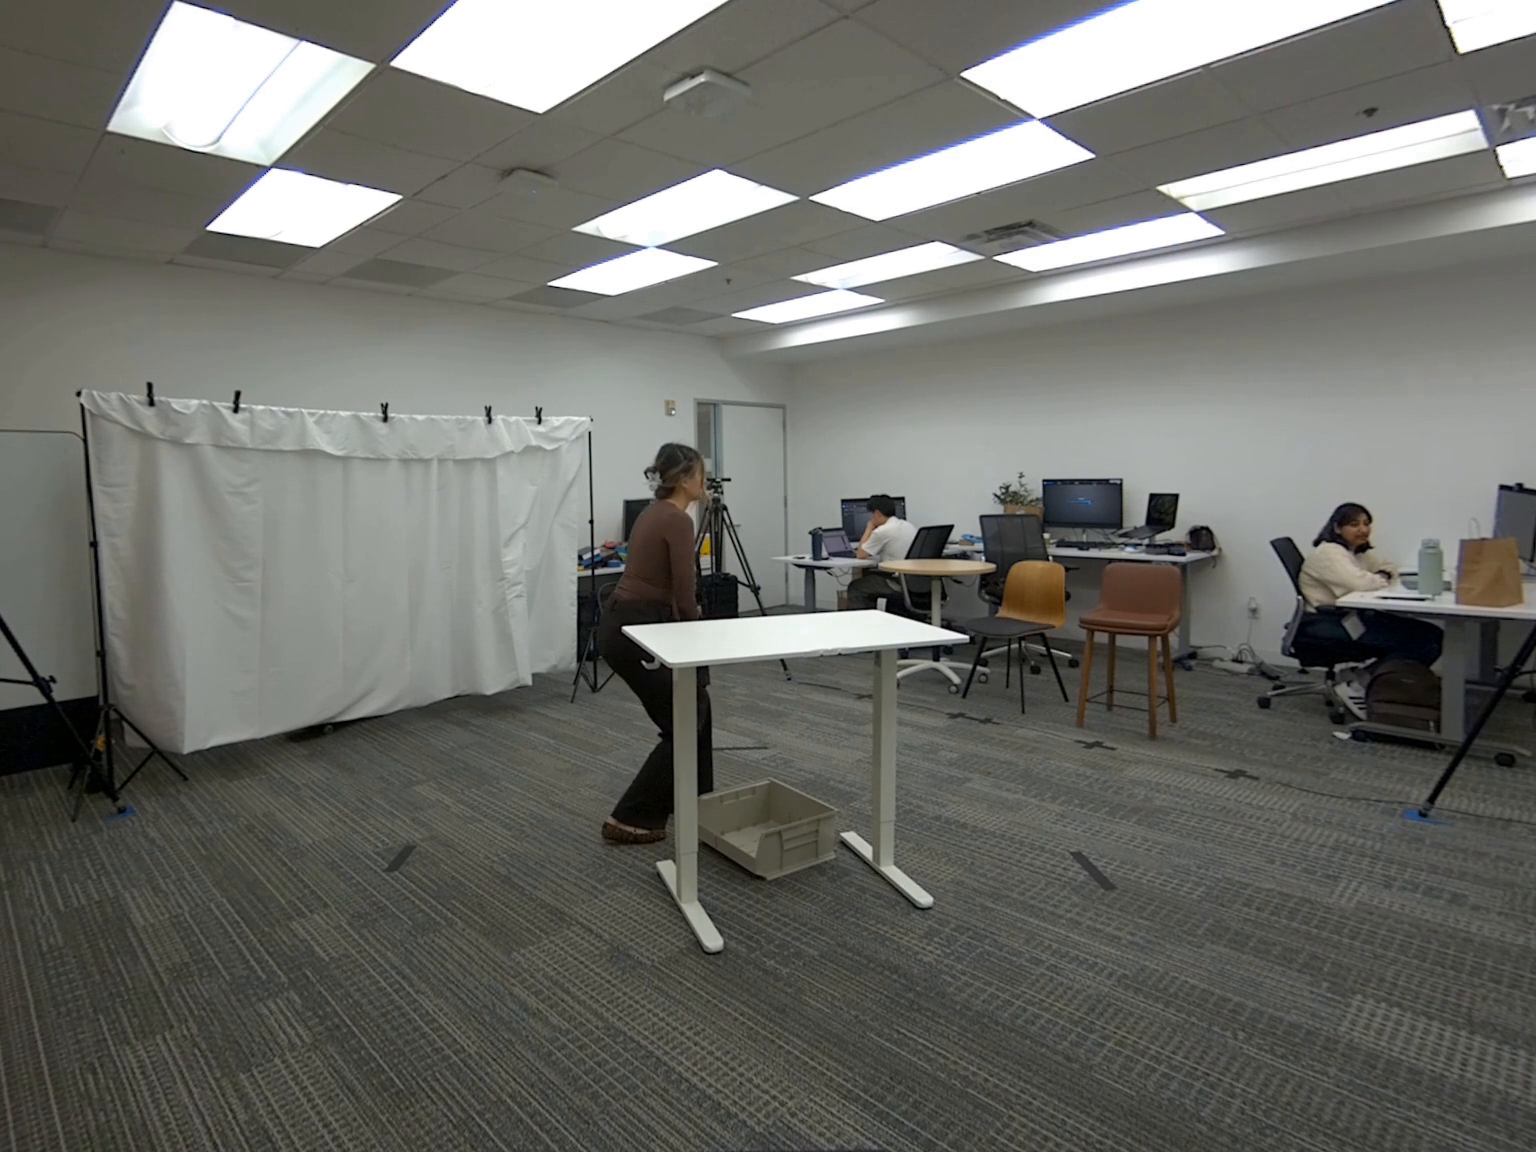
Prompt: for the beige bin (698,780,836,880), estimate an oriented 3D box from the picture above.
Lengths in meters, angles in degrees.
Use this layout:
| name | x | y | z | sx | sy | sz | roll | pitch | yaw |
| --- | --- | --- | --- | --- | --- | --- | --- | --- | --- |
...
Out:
| name | x | y | z | sx | sy | sz | roll | pitch | yaw |
| --- | --- | --- | --- | --- | --- | --- | --- | --- | --- |
| beige bin | -0.011 | 0.944 | 3.204 | 0.367 | 0.188 | 0.435 | -3 | 5 | -35 |
